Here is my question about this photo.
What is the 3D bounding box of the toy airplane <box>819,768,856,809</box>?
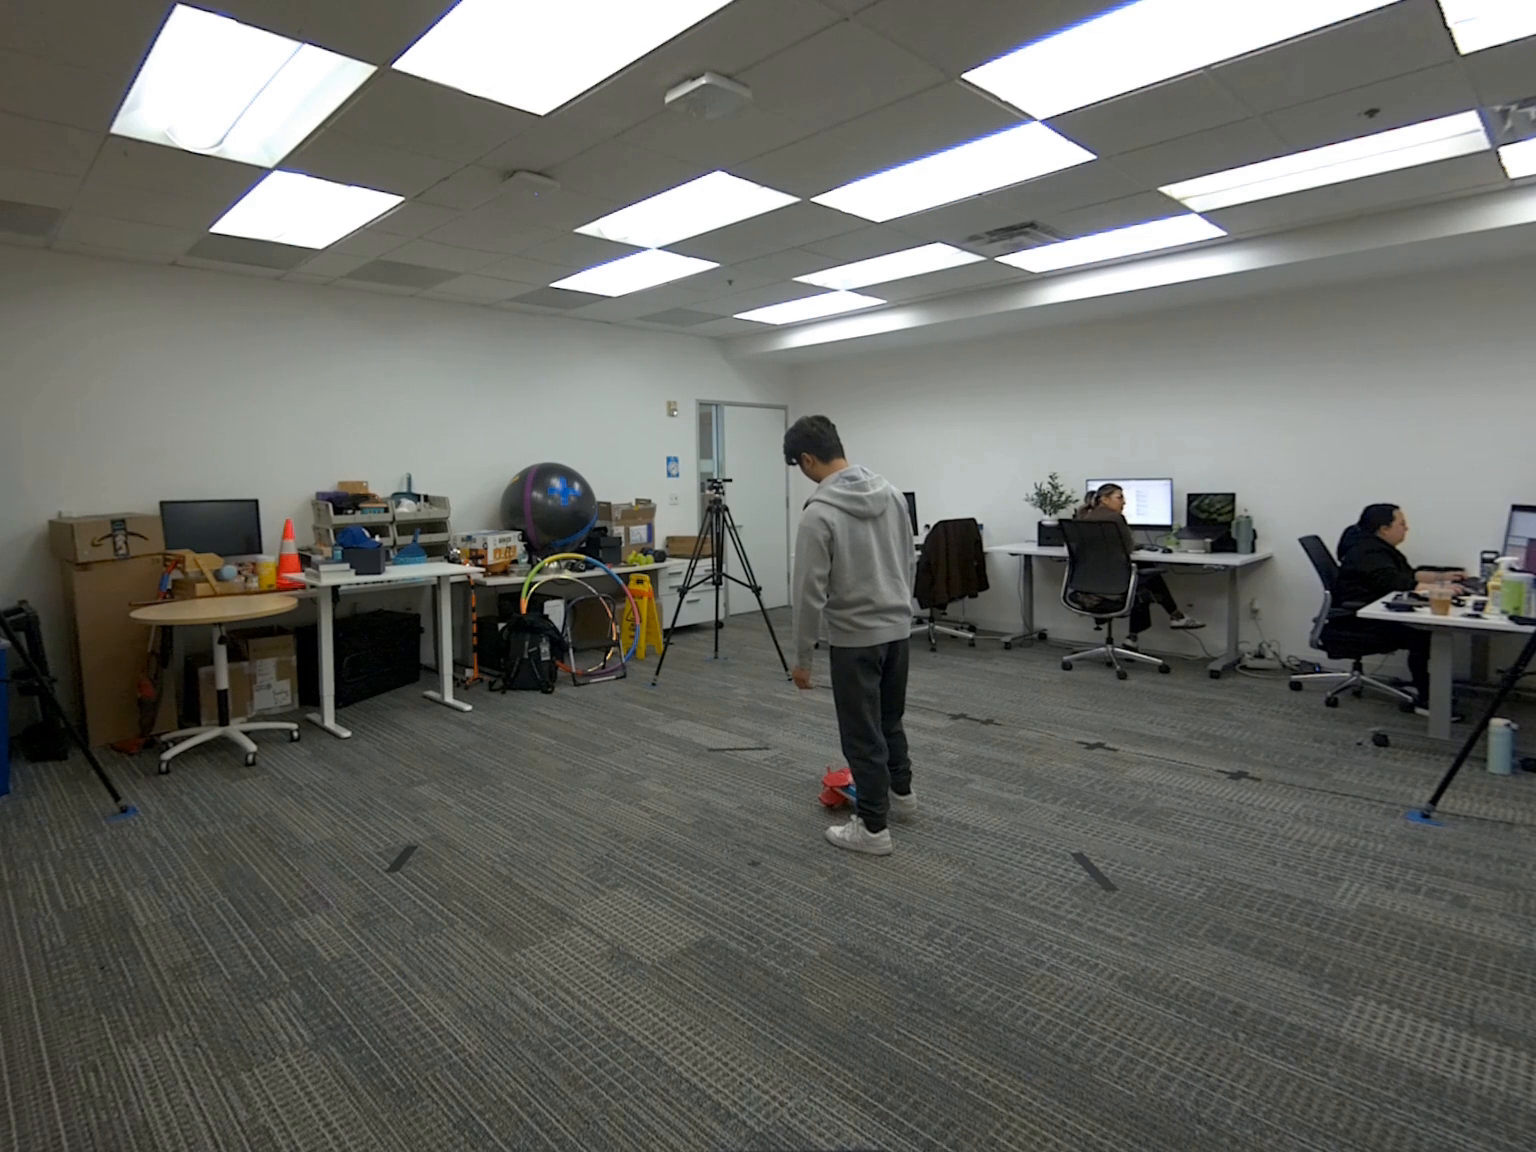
[{"bbox_3d":[0.363,0.909,3.608,0.265,0.156,0.246,1,5,23],"label":"toy airplane"}]
